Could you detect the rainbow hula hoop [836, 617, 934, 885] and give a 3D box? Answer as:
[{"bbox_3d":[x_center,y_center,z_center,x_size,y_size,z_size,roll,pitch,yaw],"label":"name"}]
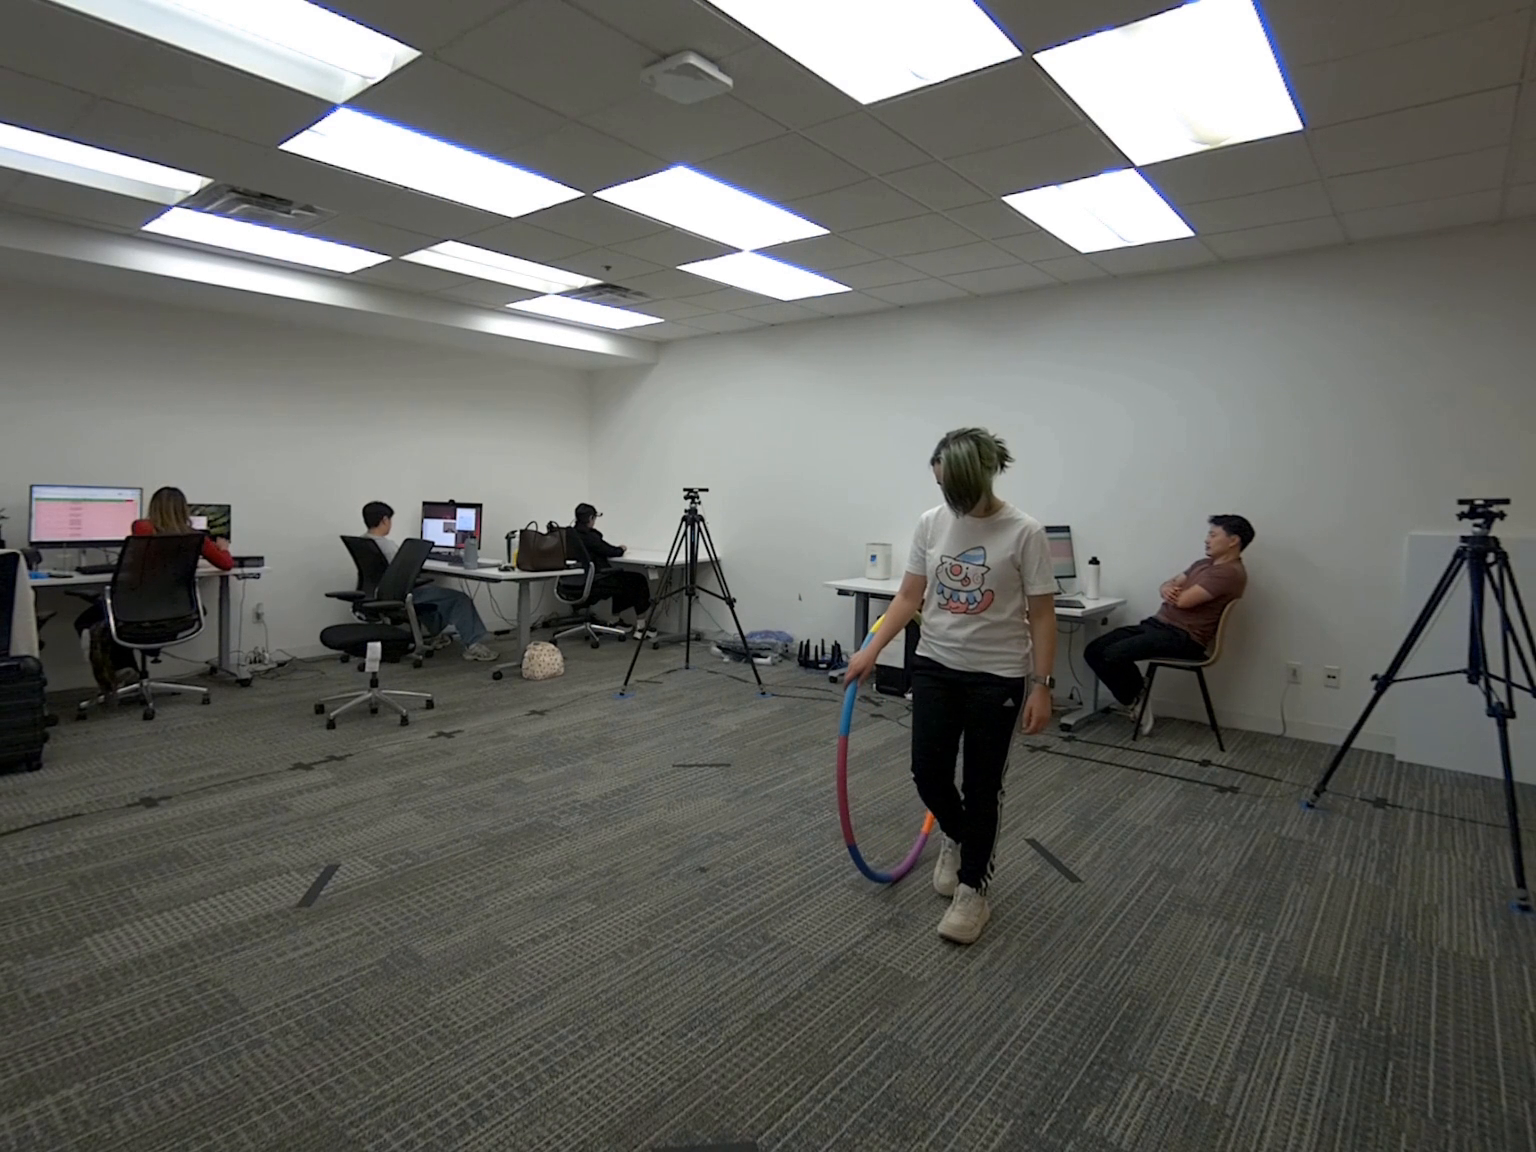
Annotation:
[{"bbox_3d":[0.470,0.601,3.091,0.036,0.977,0.953,-1,2,31],"label":"rainbow hula hoop"}]
